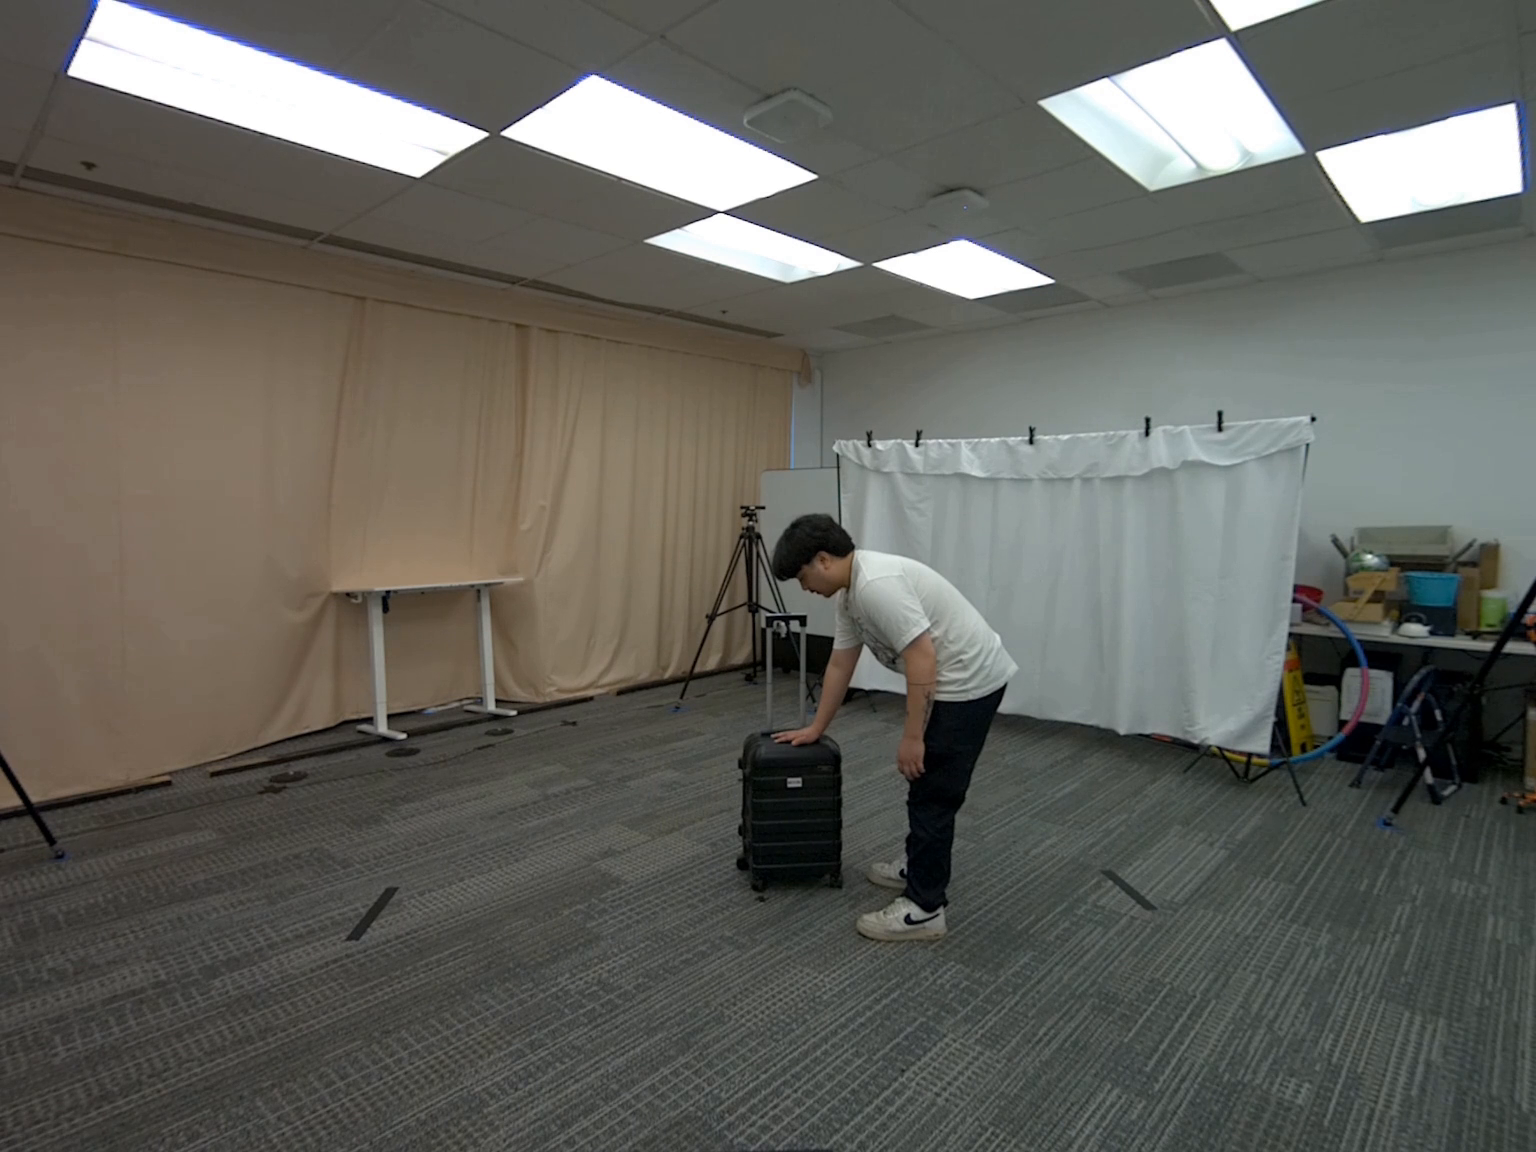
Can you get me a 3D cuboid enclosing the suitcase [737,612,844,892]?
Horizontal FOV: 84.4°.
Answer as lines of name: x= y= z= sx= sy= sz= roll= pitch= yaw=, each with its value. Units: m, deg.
suitcase: x=0.092 y=0.660 z=3.115 sx=0.382 sy=0.975 sz=0.259 roll=0 pitch=6 yaw=-6
